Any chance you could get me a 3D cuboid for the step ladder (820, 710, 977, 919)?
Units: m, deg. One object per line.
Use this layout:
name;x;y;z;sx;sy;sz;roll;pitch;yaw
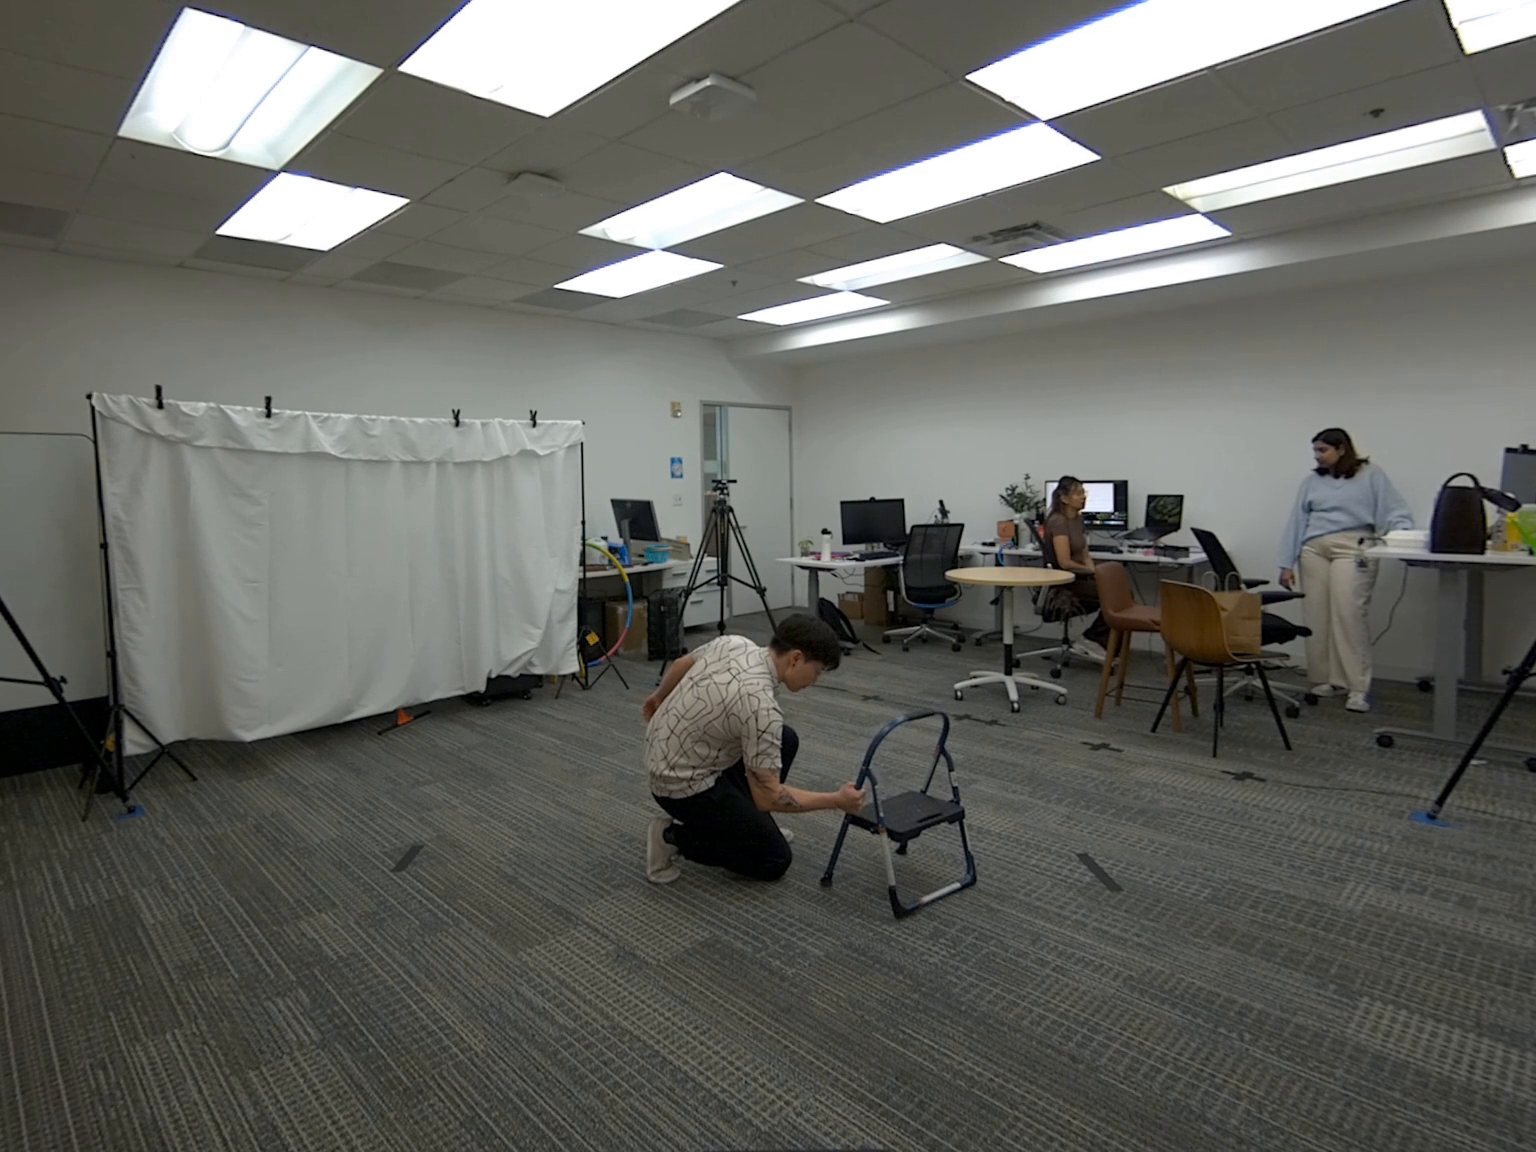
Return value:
step ladder;0.452;0.746;2.922;0.419;0.605;0.360;-2;4;-40
